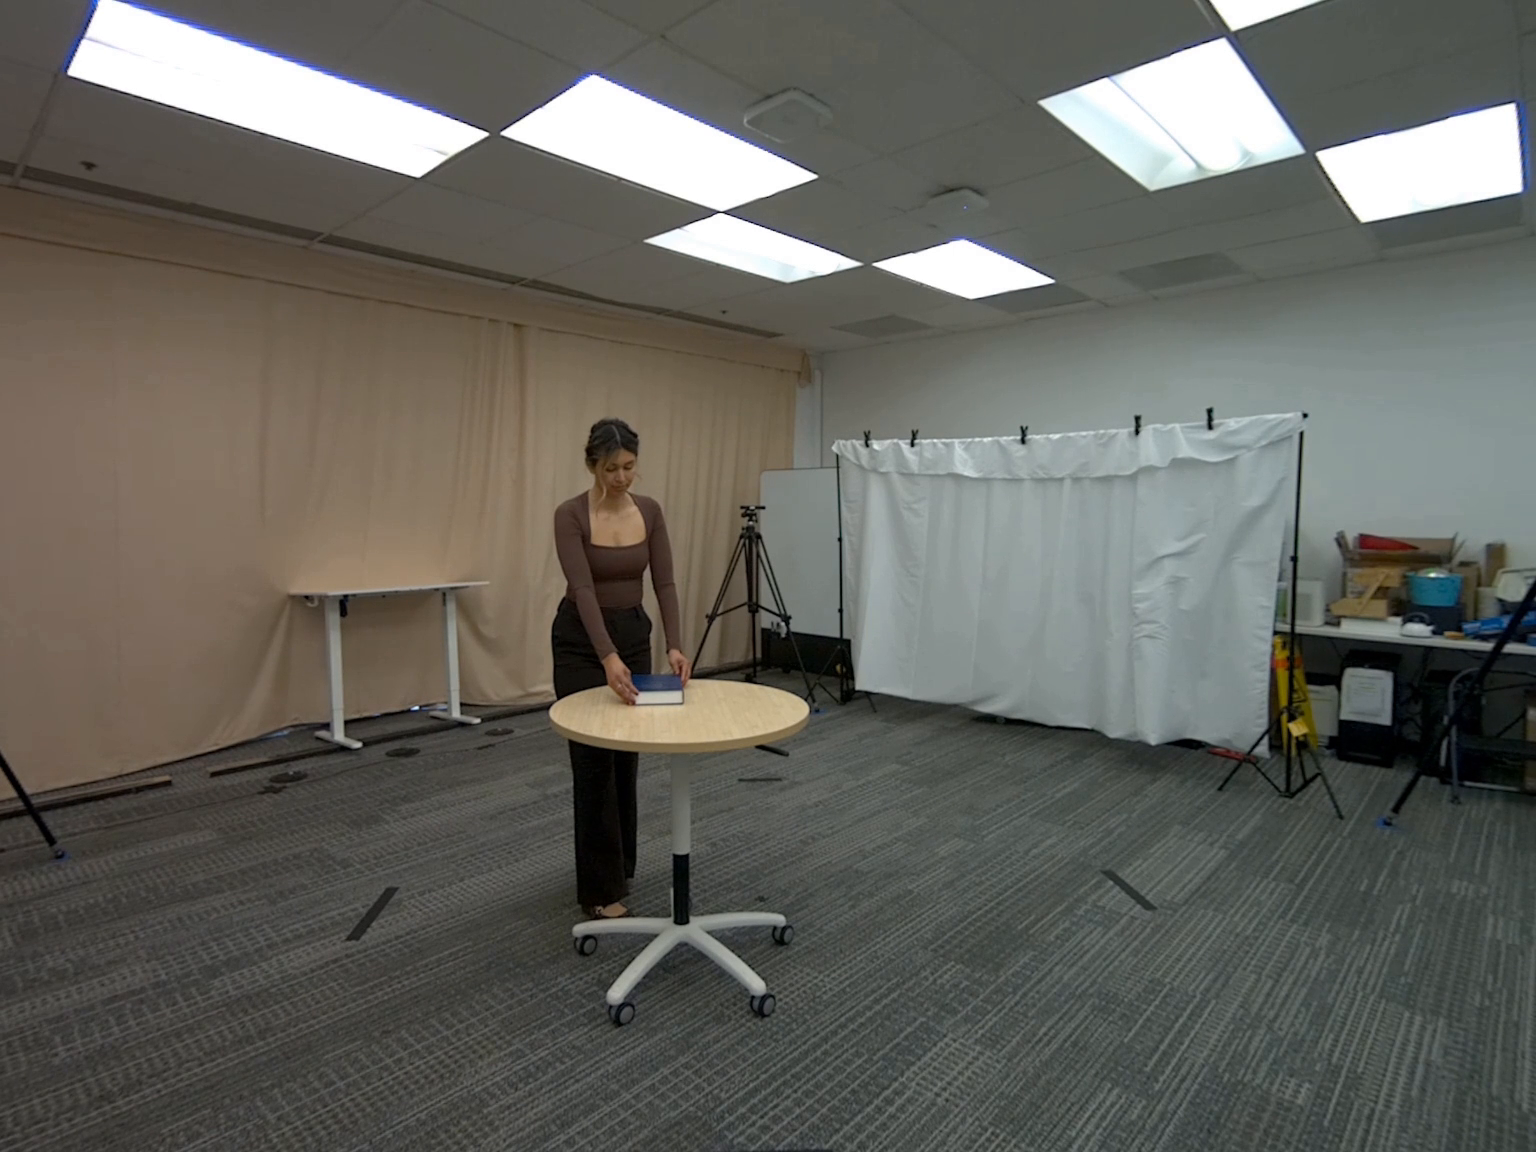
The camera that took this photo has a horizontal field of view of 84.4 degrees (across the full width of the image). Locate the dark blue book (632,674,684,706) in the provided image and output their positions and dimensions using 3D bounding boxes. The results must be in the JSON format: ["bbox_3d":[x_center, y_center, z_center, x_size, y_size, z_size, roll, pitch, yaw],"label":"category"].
[{"bbox_3d":[-0.348,0.360,2.645,0.162,0.045,0.247,-1,3,-6],"label":"dark blue book"}]
